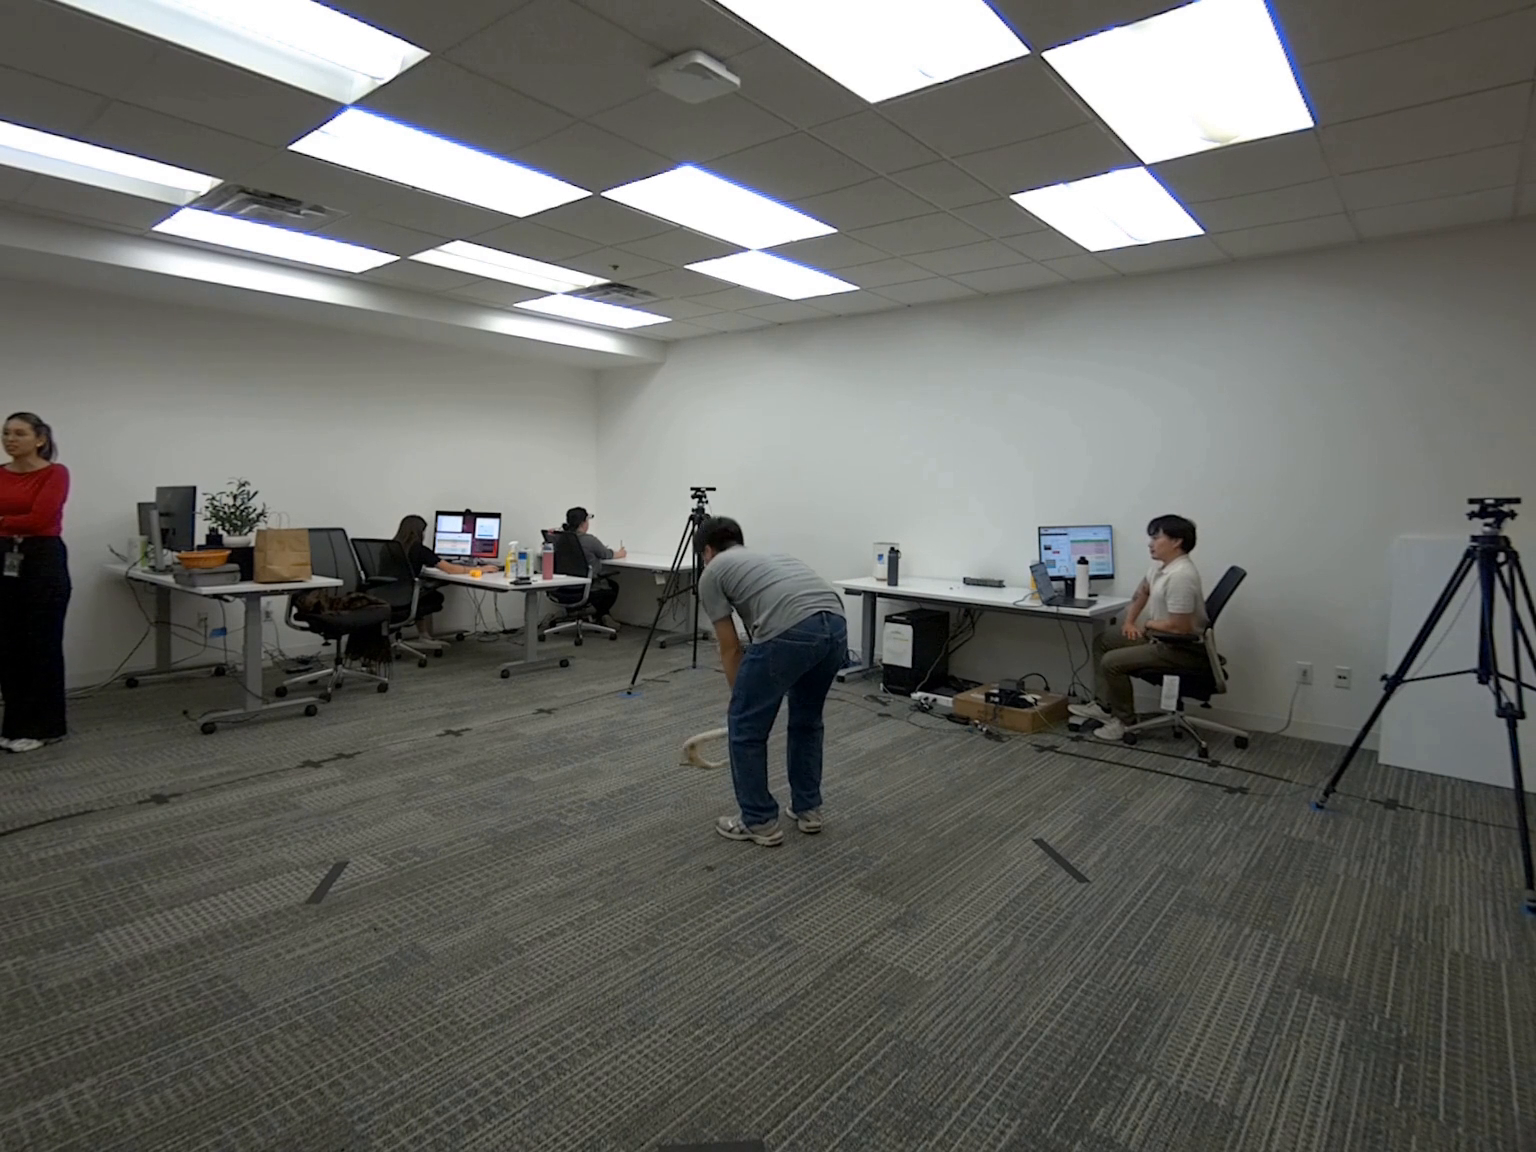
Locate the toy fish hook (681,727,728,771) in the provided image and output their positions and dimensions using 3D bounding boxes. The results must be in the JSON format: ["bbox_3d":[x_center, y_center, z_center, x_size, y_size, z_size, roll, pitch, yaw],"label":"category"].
[{"bbox_3d":[-0.182,0.696,3.676,0.512,0.217,0.049,-29,32,28],"label":"toy fish hook"}]
